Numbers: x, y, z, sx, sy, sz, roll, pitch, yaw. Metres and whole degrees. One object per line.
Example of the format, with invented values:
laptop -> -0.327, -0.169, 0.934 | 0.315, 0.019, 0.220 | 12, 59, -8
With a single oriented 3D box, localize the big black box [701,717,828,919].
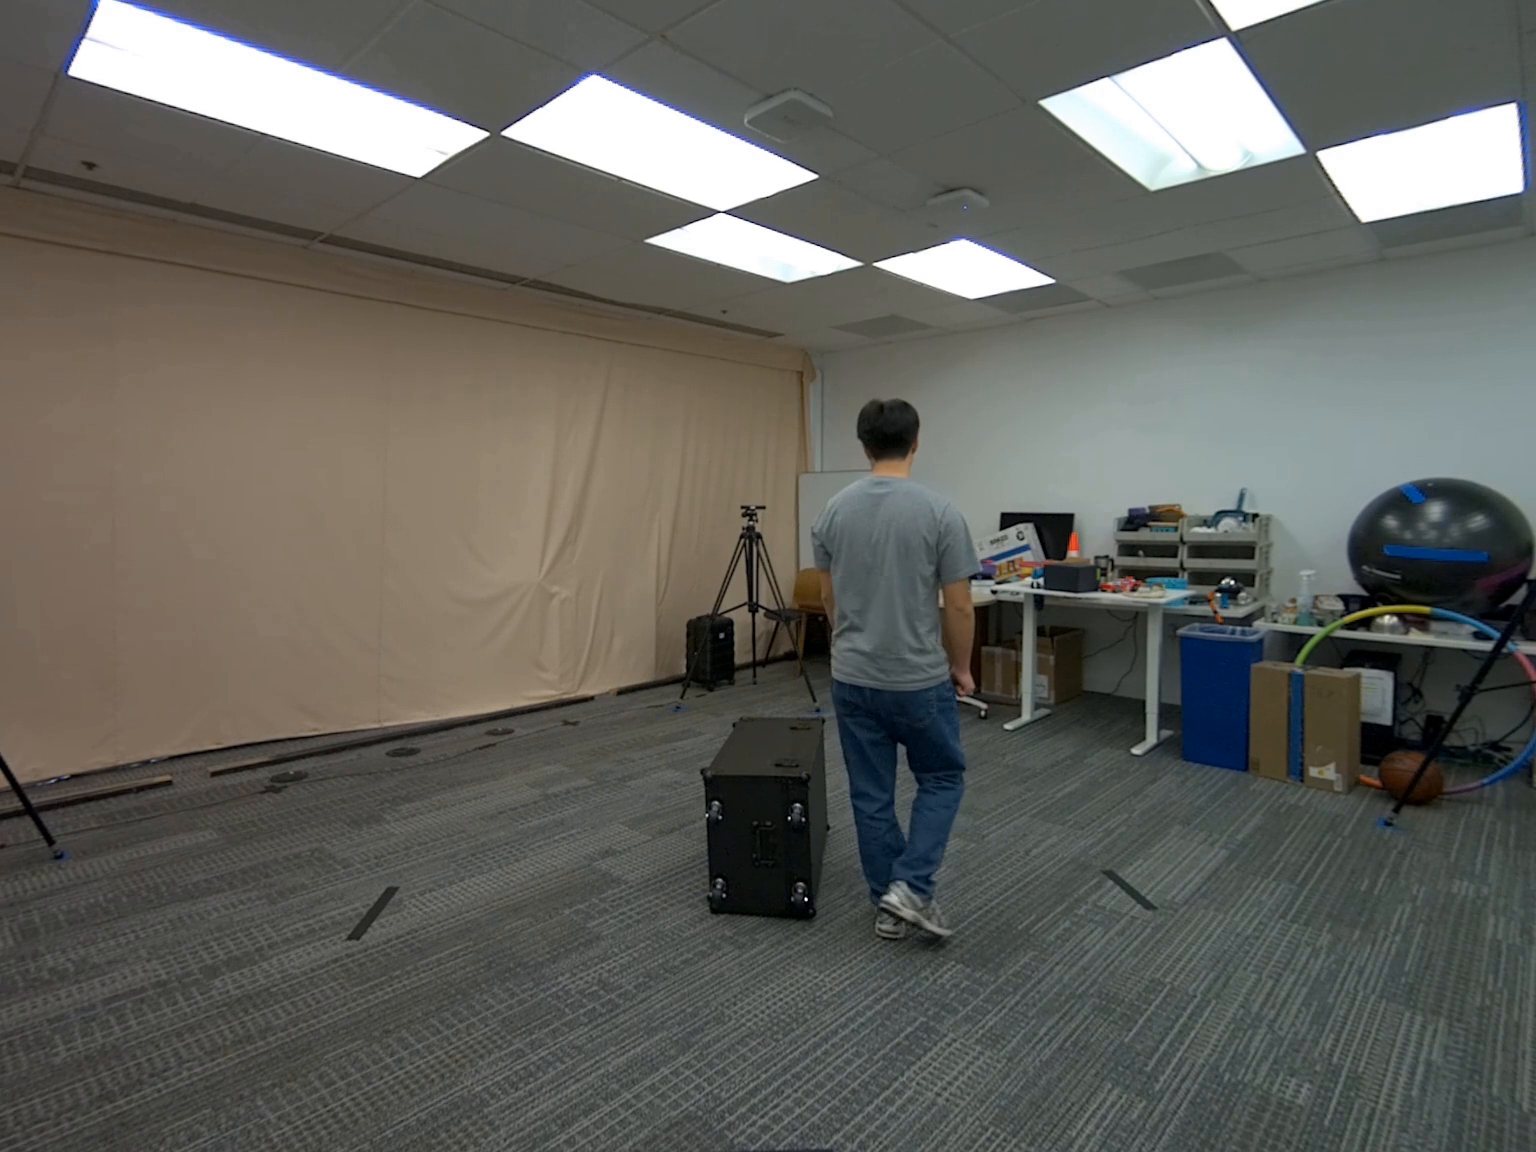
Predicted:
big black box -> 0.014, 0.870, 3.241 | 0.401, 0.520, 0.854 | -1, 4, 9
